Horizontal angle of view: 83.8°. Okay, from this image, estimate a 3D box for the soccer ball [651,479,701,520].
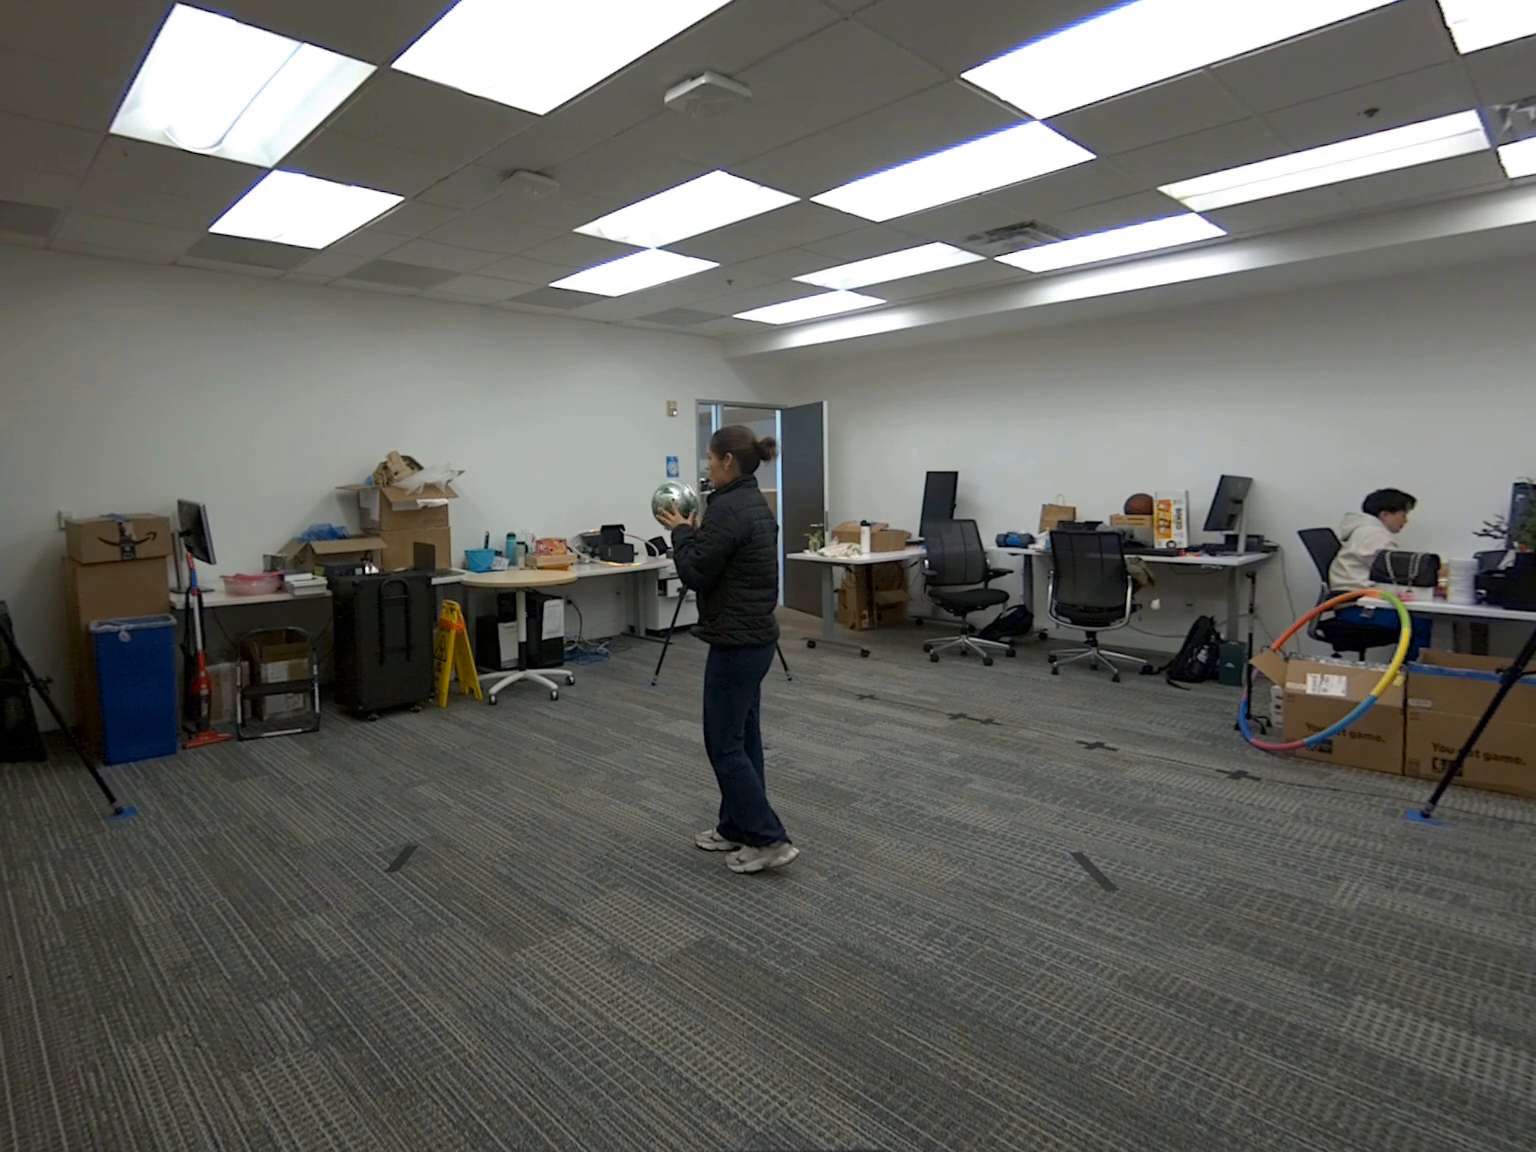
[{"bbox_3d":[-0.354,-0.272,3.313,0.187,0.187,0.188,-1,5,-2],"label":"soccer ball"}]
